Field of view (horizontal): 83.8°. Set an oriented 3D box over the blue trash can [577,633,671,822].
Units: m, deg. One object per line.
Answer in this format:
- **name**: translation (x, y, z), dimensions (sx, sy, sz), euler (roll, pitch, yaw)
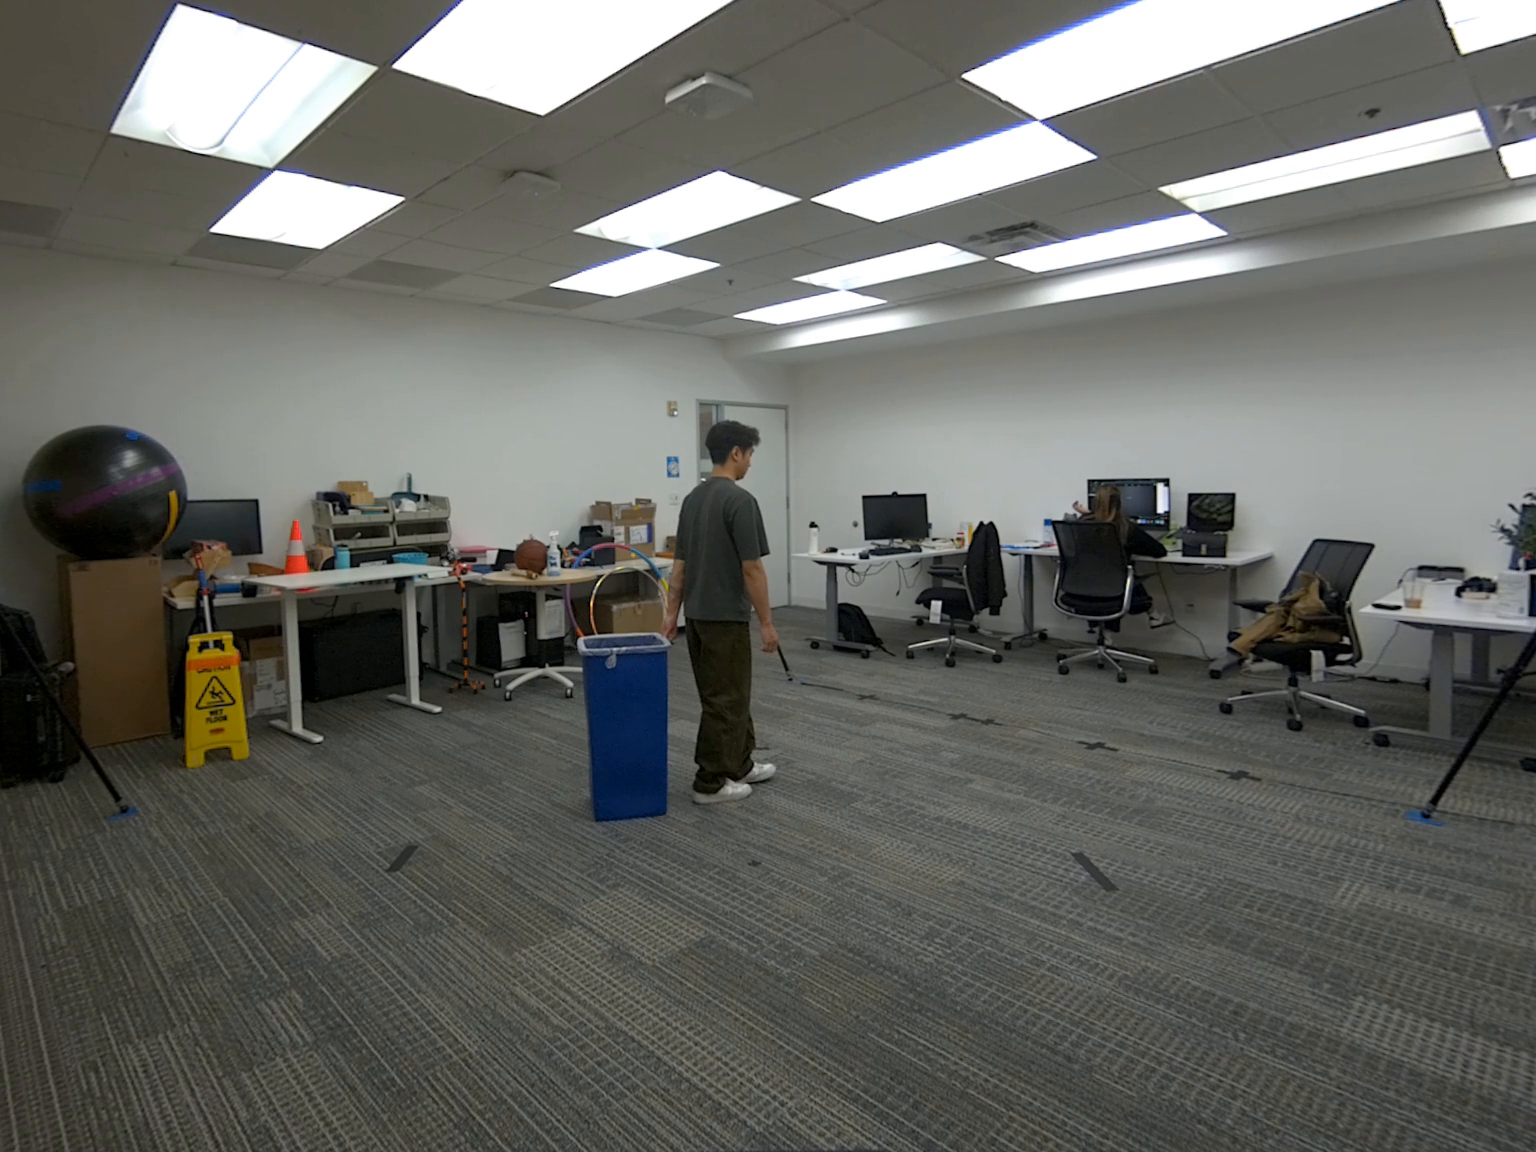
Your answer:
- **blue trash can**: translation (-0.613, 0.634, 3.673), dimensions (0.373, 0.712, 0.380), euler (-1, 3, -14)
